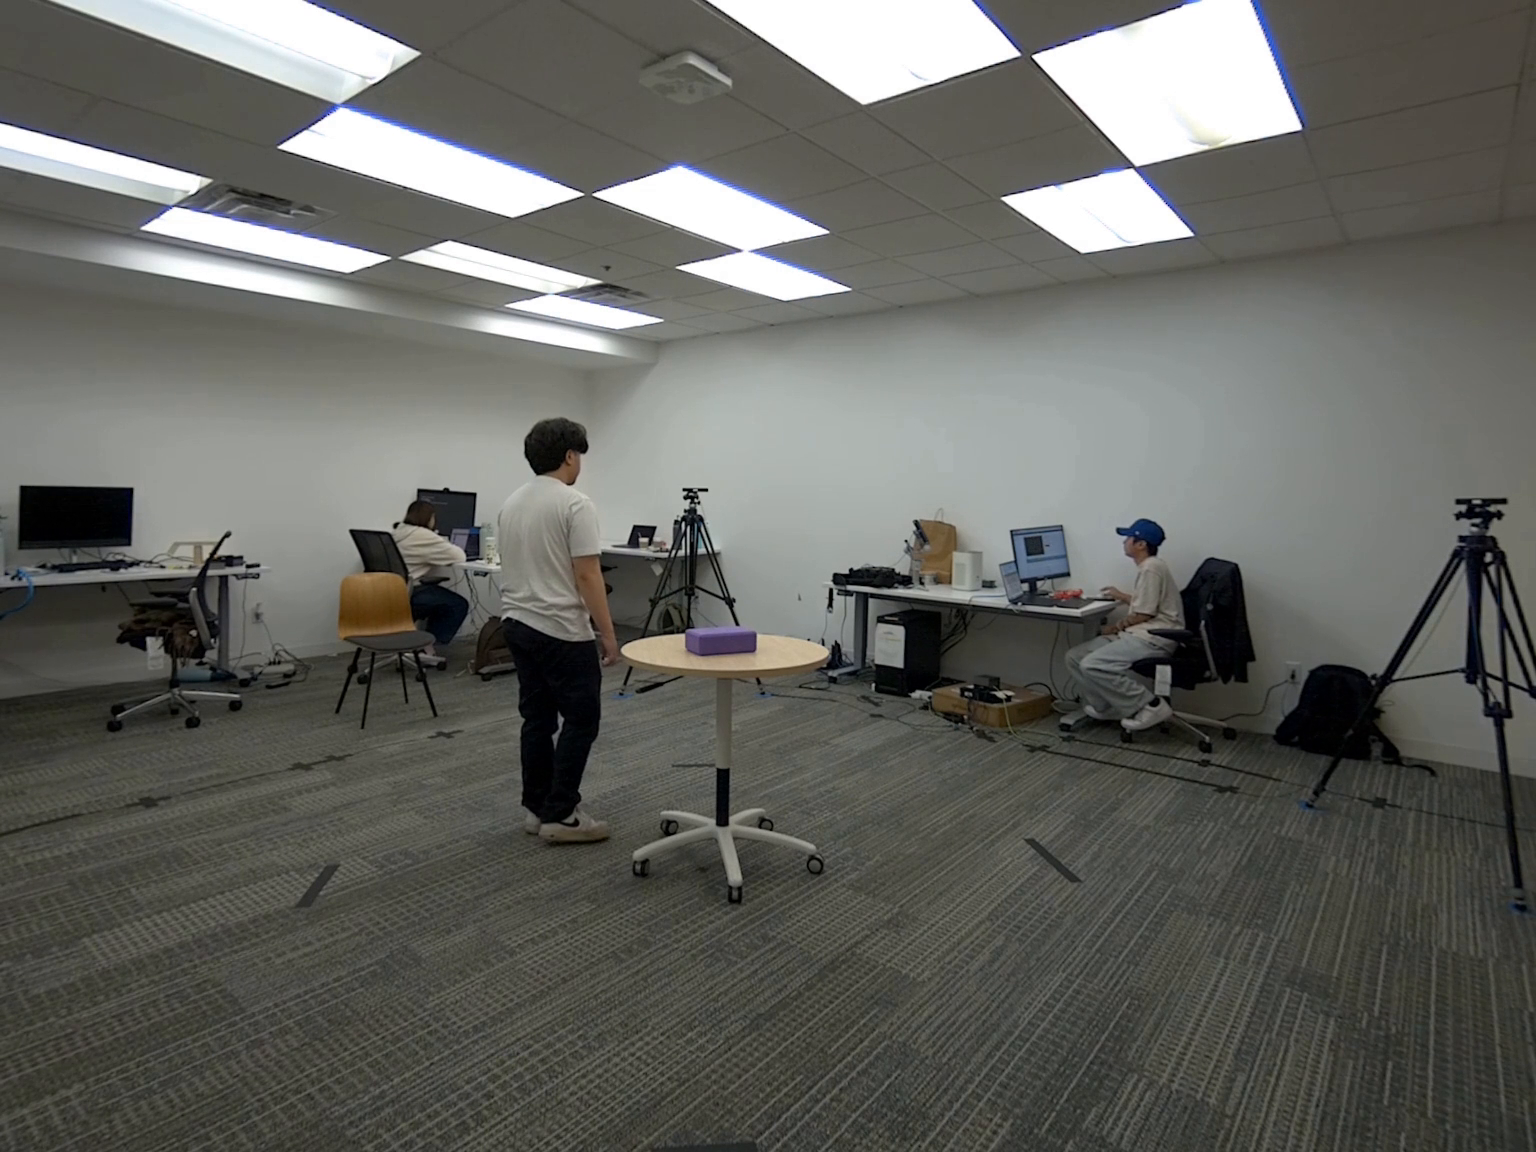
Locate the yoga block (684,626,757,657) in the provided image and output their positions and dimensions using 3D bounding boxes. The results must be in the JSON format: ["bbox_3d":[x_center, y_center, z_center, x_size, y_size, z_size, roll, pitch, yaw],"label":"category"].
[{"bbox_3d":[-0.181,0.233,3.110,0.224,0.076,0.153,-2,5,-25],"label":"yoga block"}]
